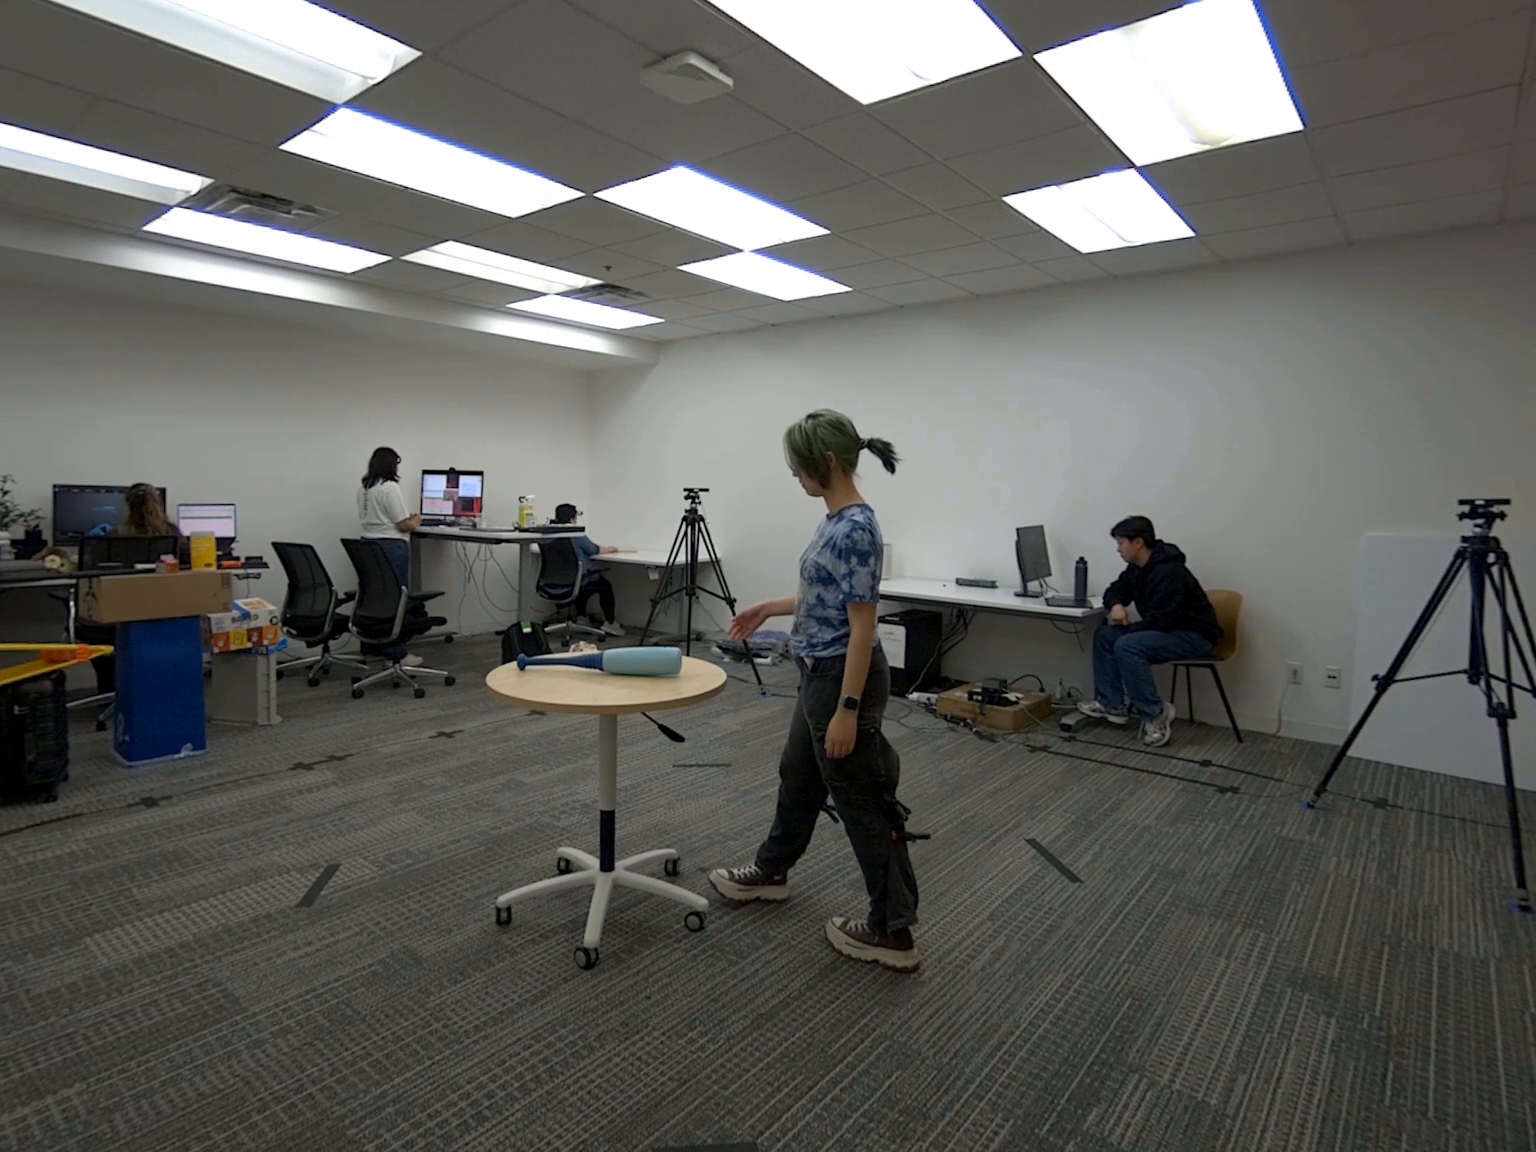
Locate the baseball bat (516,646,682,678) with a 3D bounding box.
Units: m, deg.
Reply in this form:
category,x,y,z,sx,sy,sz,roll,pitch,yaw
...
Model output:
category,x,y,z,sx,sy,sz,roll,pitch,yaw
baseball bat,-0.569,0.279,2.759,0.546,0.089,0.089,-2,4,5
